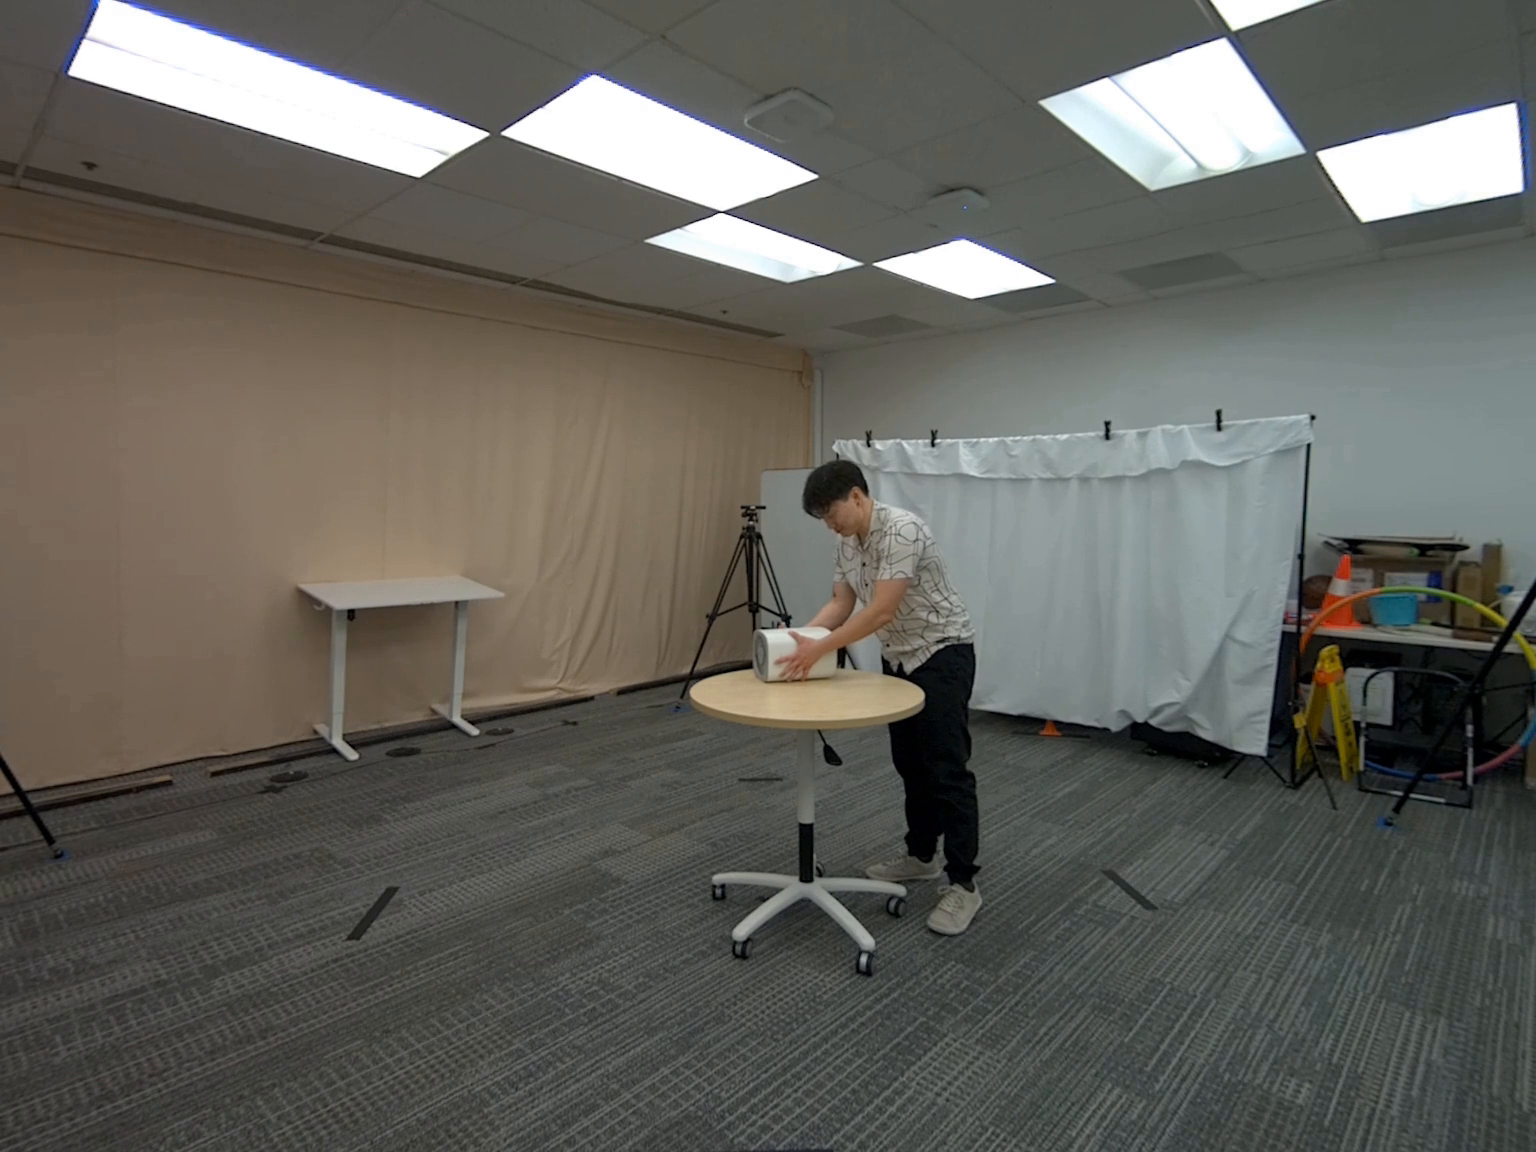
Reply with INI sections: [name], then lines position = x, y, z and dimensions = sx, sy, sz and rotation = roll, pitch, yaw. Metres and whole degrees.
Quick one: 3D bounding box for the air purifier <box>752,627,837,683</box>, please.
[air purifier]
position = 0.102, 0.278, 2.972
dimensions = 0.261, 0.170, 0.175
rotation = -1, 4, -15
